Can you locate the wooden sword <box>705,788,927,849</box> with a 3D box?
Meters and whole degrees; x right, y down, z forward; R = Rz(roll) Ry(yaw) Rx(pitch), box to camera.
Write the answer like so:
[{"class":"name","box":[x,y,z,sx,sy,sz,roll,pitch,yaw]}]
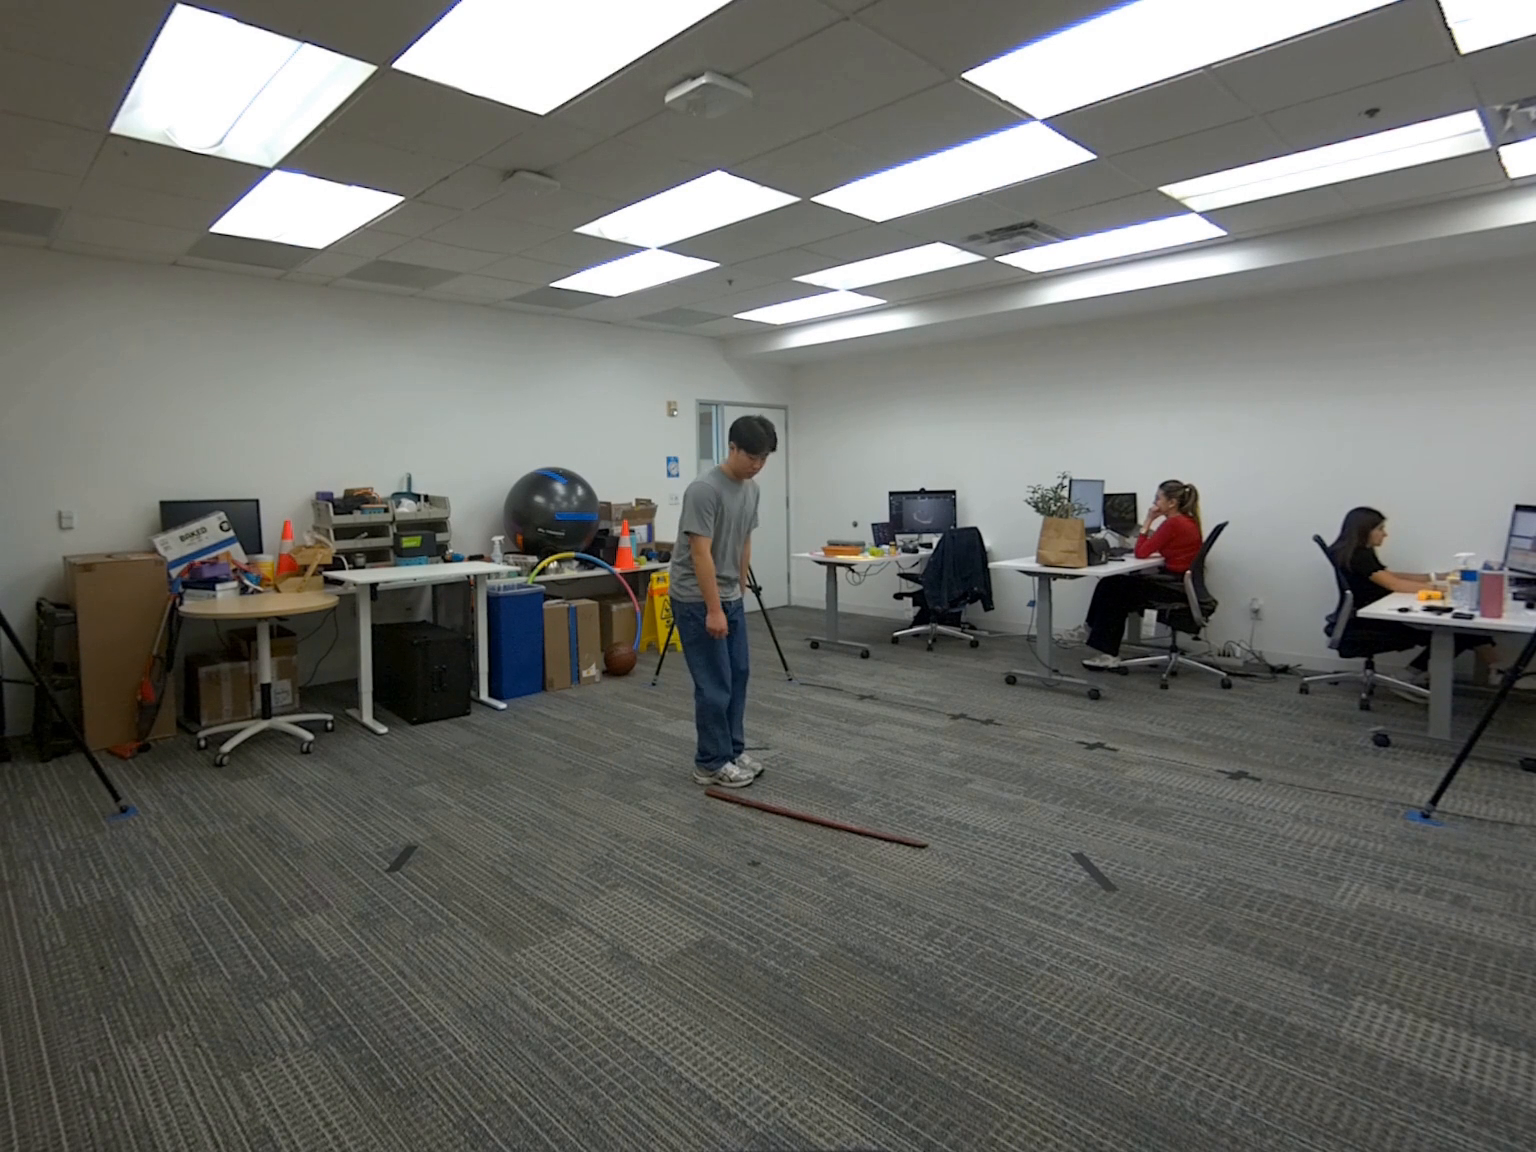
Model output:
[{"class":"wooden sword","box":[0.155,0.975,3.486,1.054,0.023,0.051,4,28,34]}]
